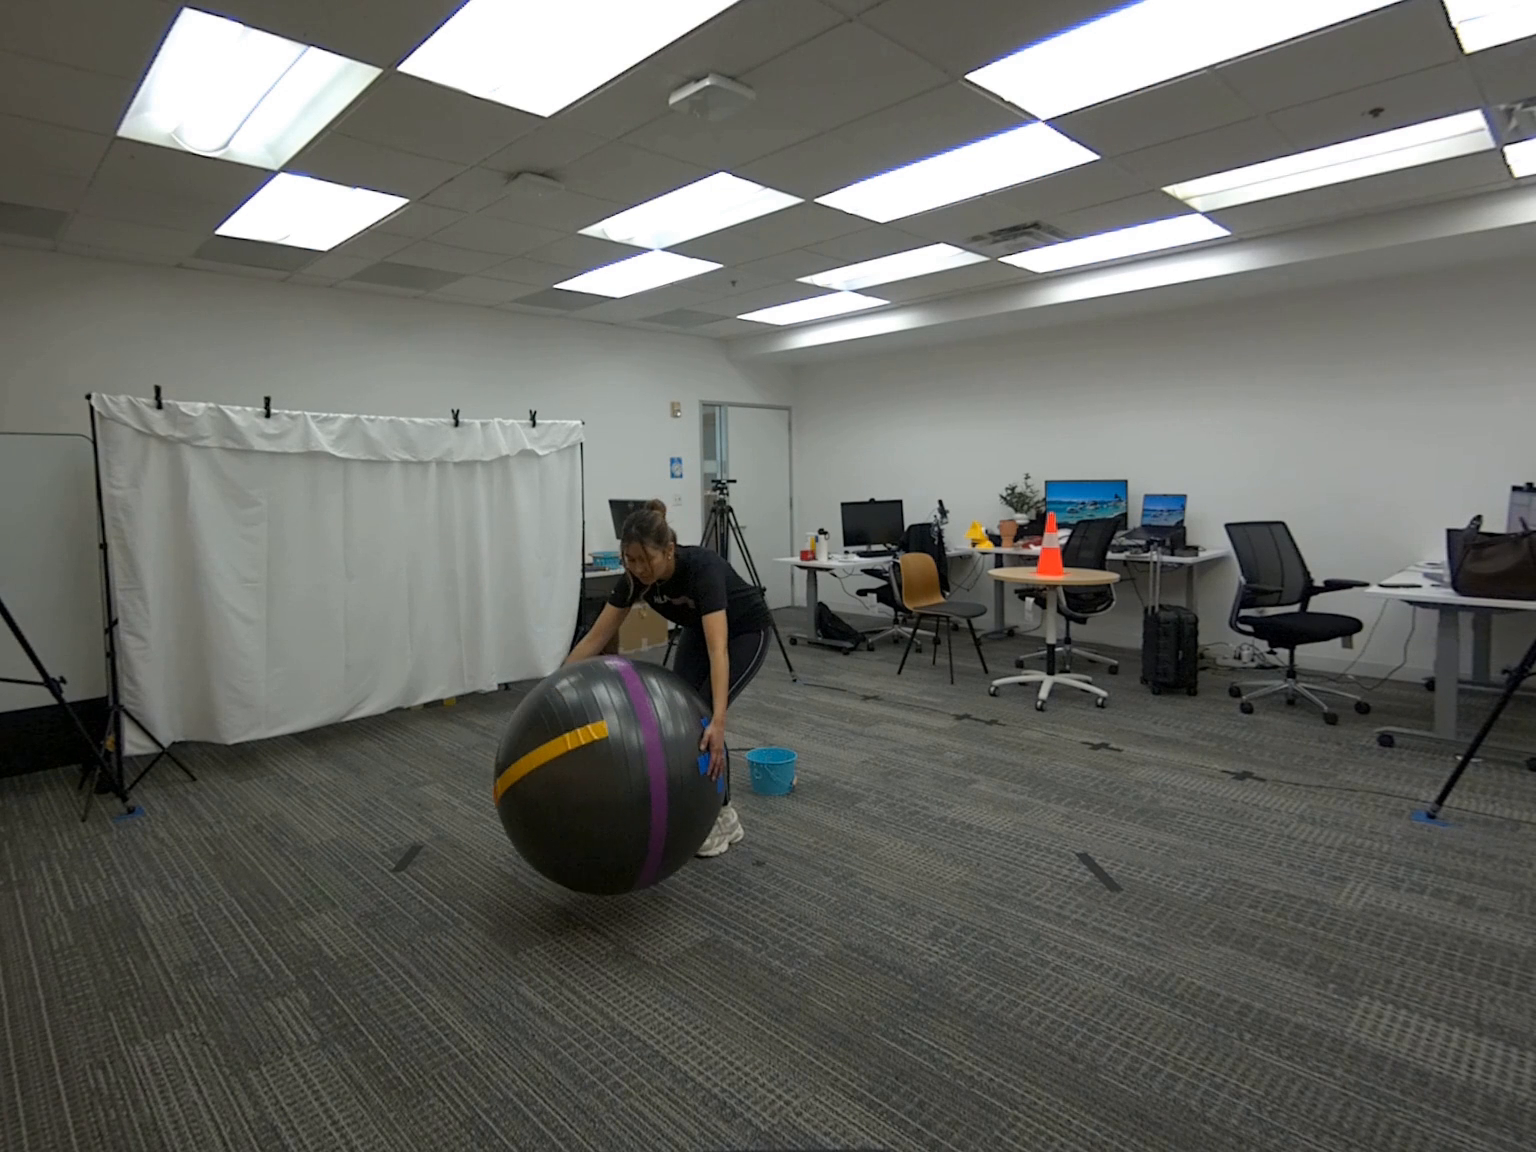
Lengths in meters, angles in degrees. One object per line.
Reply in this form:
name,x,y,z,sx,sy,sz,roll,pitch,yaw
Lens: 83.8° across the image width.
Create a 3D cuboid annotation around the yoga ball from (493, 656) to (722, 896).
yoga ball,-0.513,0.636,2.814,0.757,0.755,0.762,-1,5,-2
